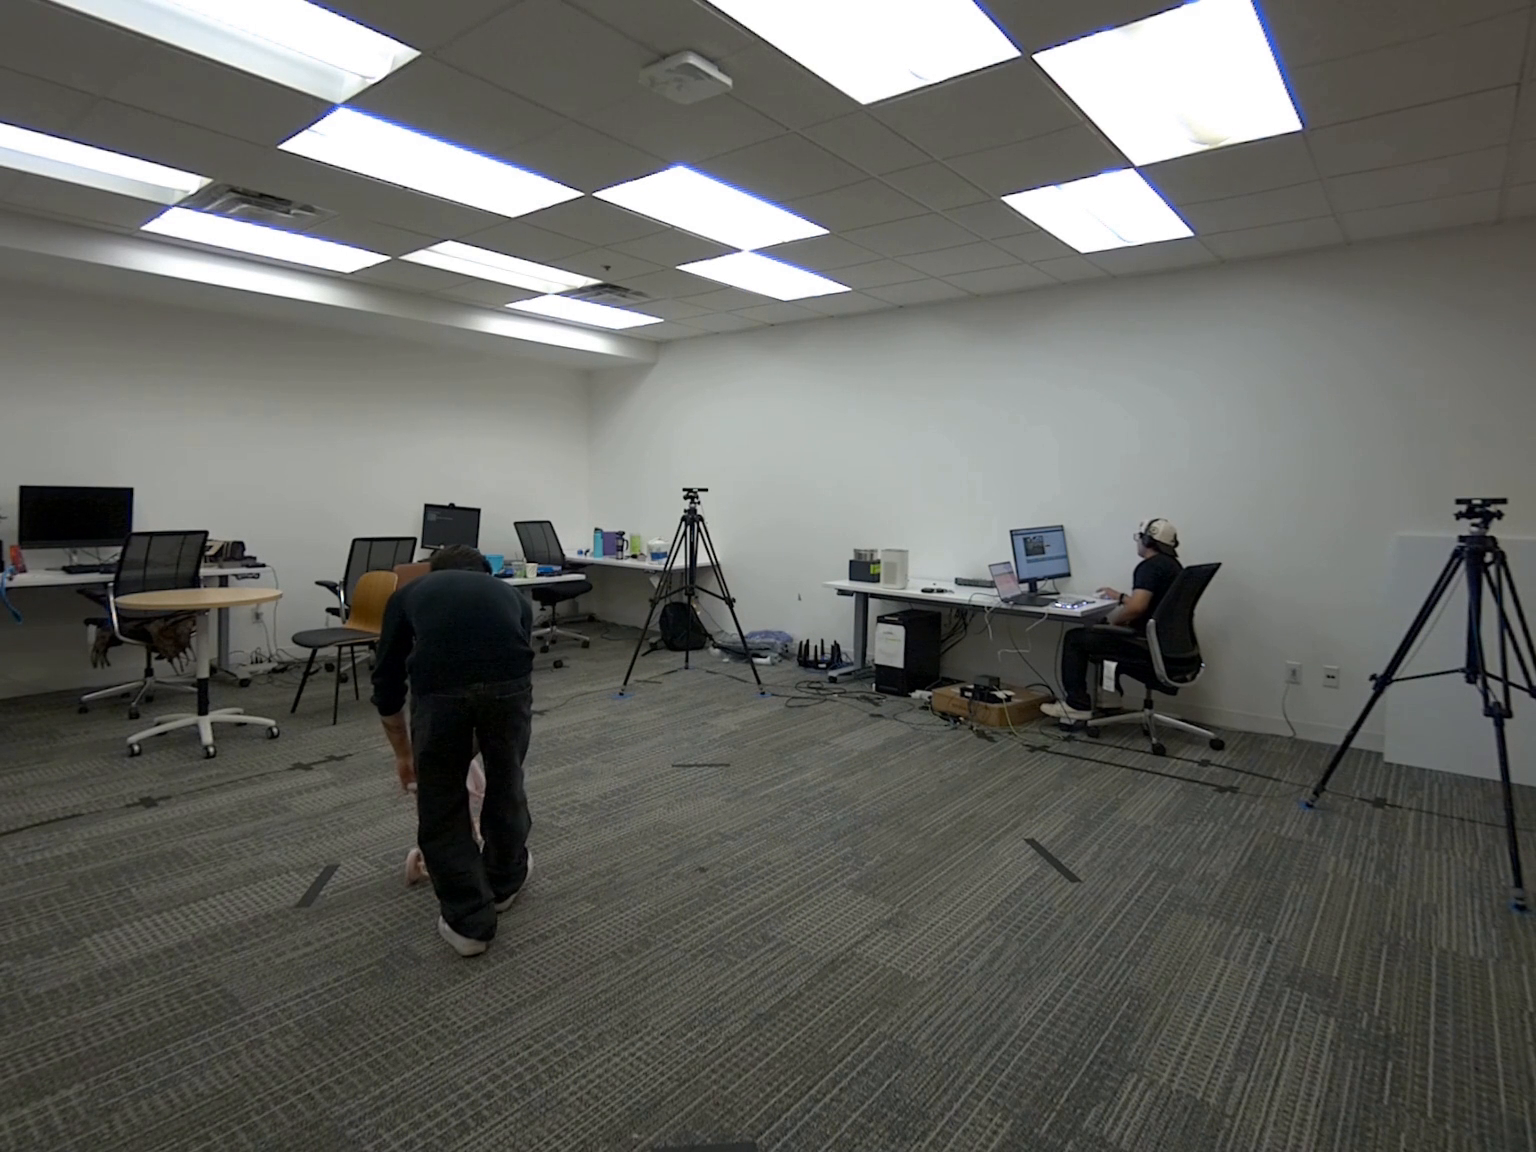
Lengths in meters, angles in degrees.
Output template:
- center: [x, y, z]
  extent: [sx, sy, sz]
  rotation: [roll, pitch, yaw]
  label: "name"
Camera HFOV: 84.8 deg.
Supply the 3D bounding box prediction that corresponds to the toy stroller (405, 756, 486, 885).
- center: [-1.122, 0.841, 3.033]
  extent: [0.282, 0.525, 0.347]
  rotation: [1, 22, 2]
  label: "toy stroller"
